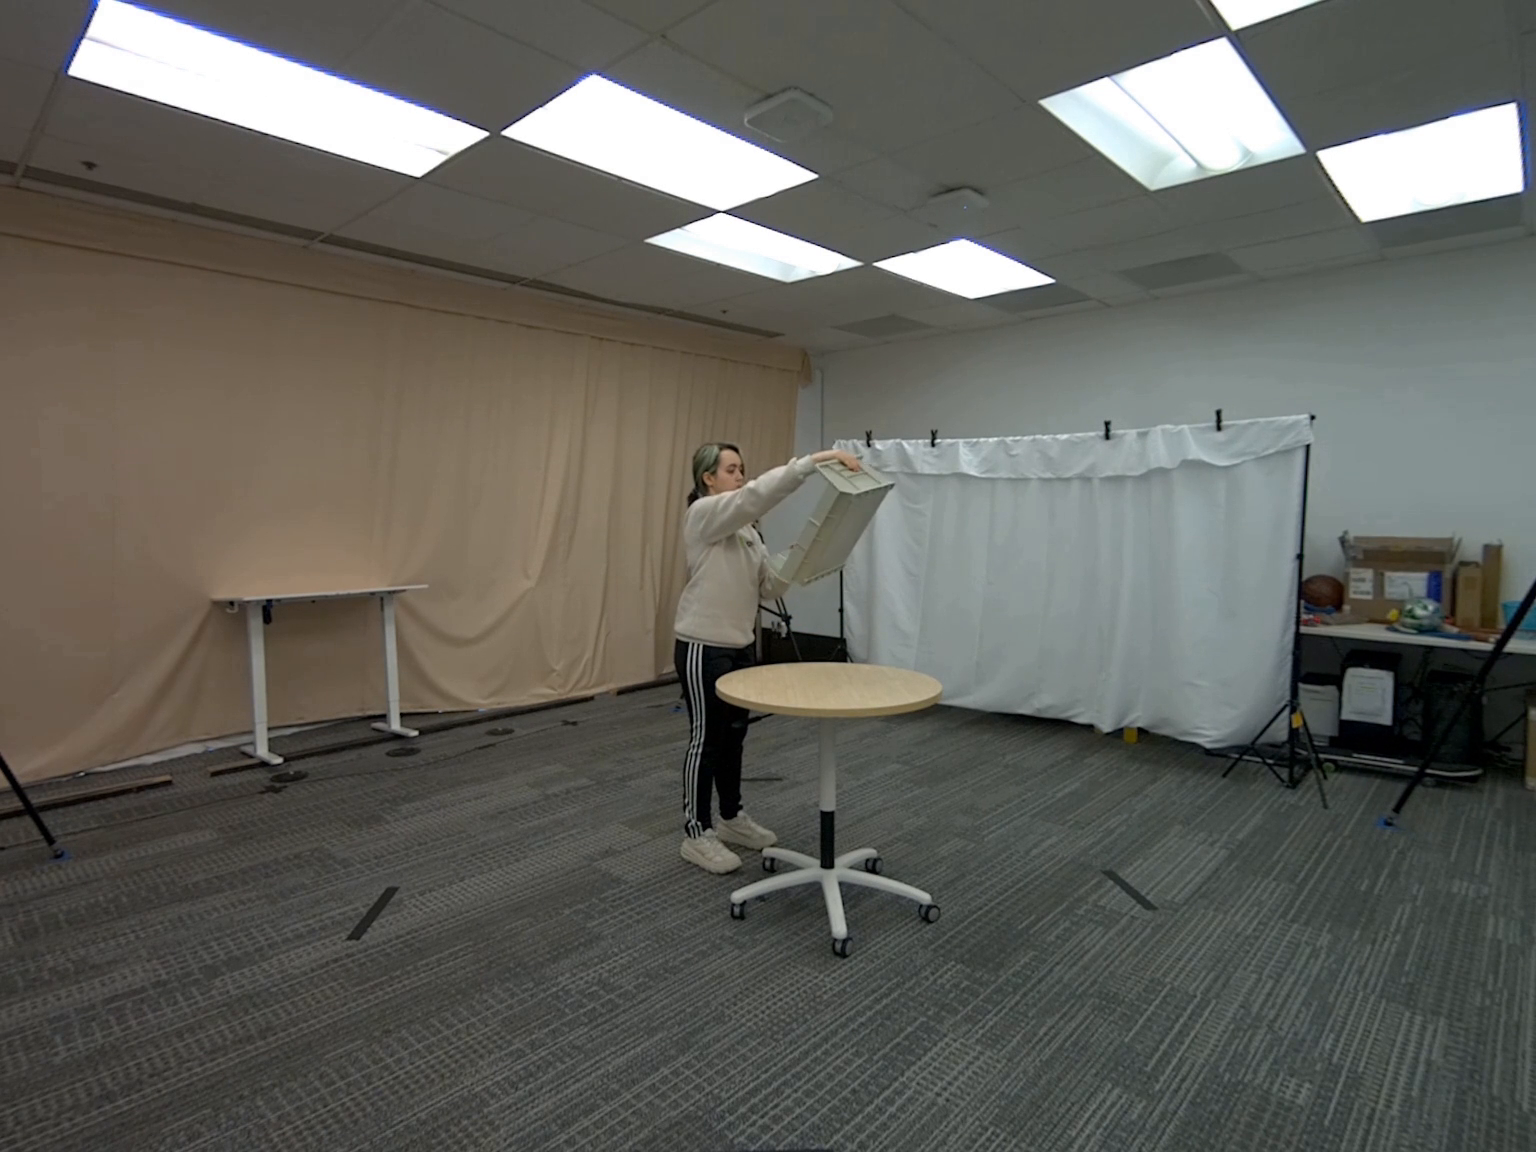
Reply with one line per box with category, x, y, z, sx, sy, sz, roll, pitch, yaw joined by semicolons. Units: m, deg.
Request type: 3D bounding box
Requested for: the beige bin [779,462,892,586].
beige bin;0.218;-0.195;3.041;0.194;0.422;0.368;42;31;21
